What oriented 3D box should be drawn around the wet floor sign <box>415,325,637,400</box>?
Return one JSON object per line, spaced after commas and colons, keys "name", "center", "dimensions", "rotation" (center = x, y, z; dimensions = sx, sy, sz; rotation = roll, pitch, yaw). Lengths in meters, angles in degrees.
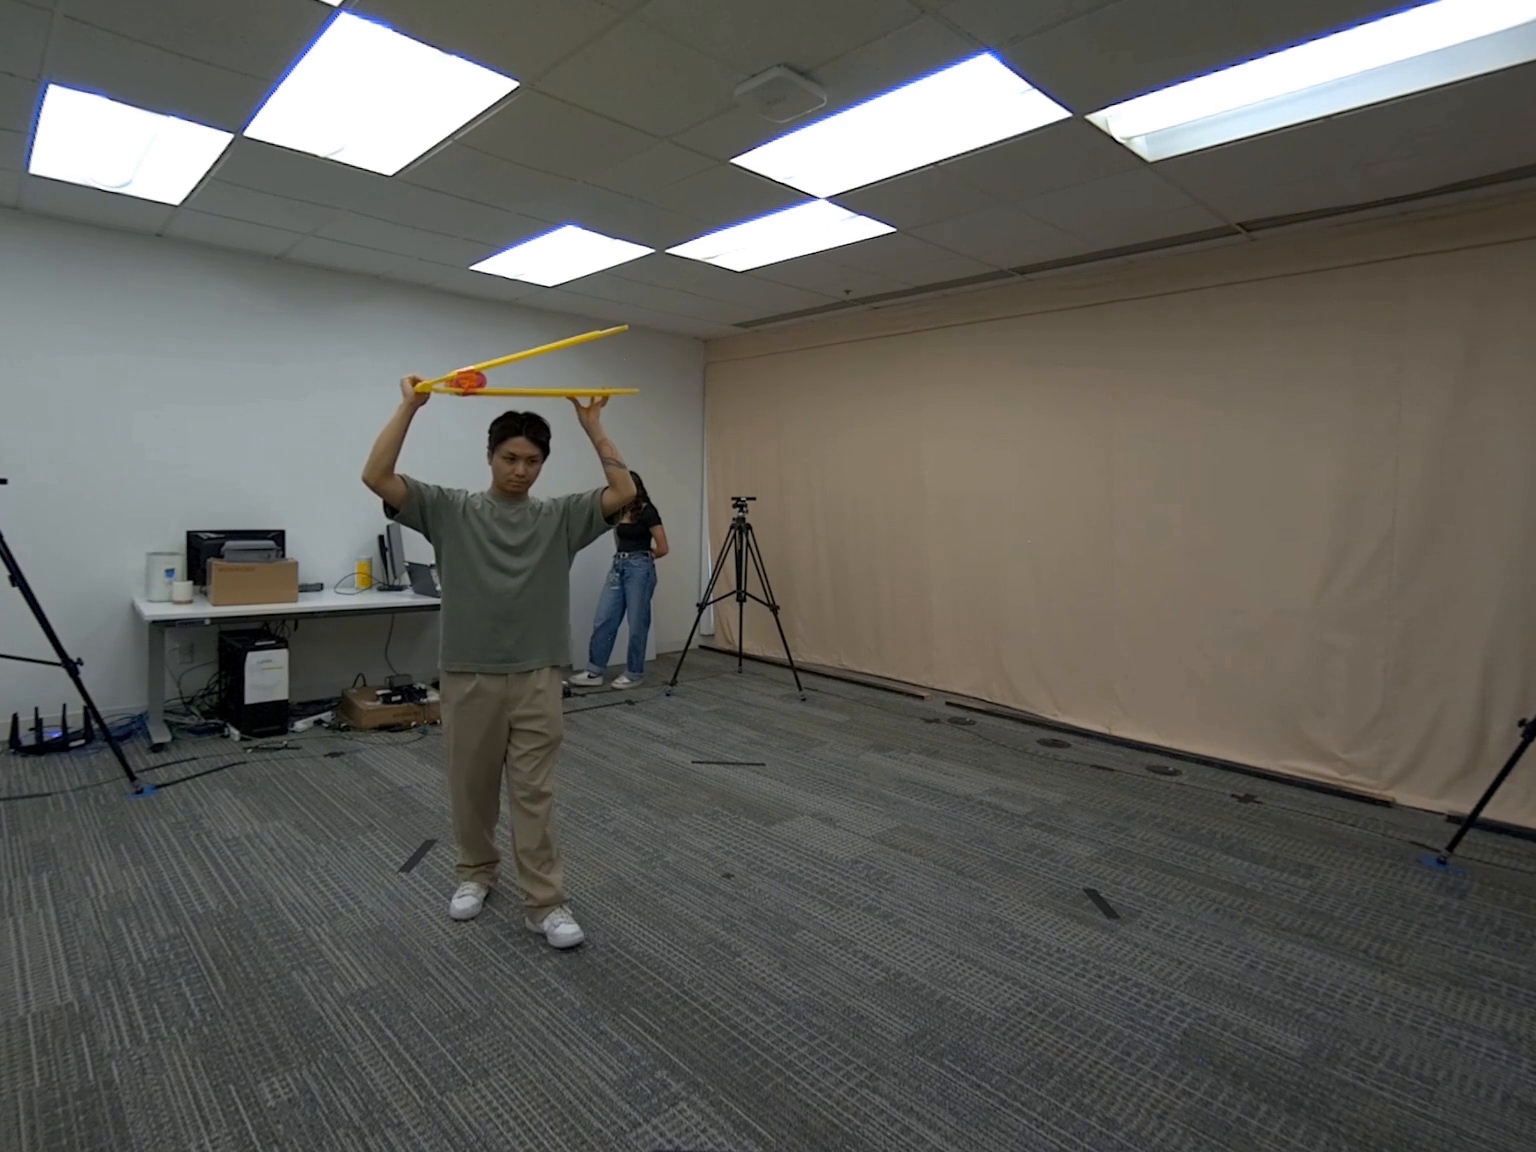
{"name": "wet floor sign", "center": [-0.774, -0.630, 2.631], "dimensions": [0.638, 0.286, 0.289], "rotation": [-13, 15, -22]}
